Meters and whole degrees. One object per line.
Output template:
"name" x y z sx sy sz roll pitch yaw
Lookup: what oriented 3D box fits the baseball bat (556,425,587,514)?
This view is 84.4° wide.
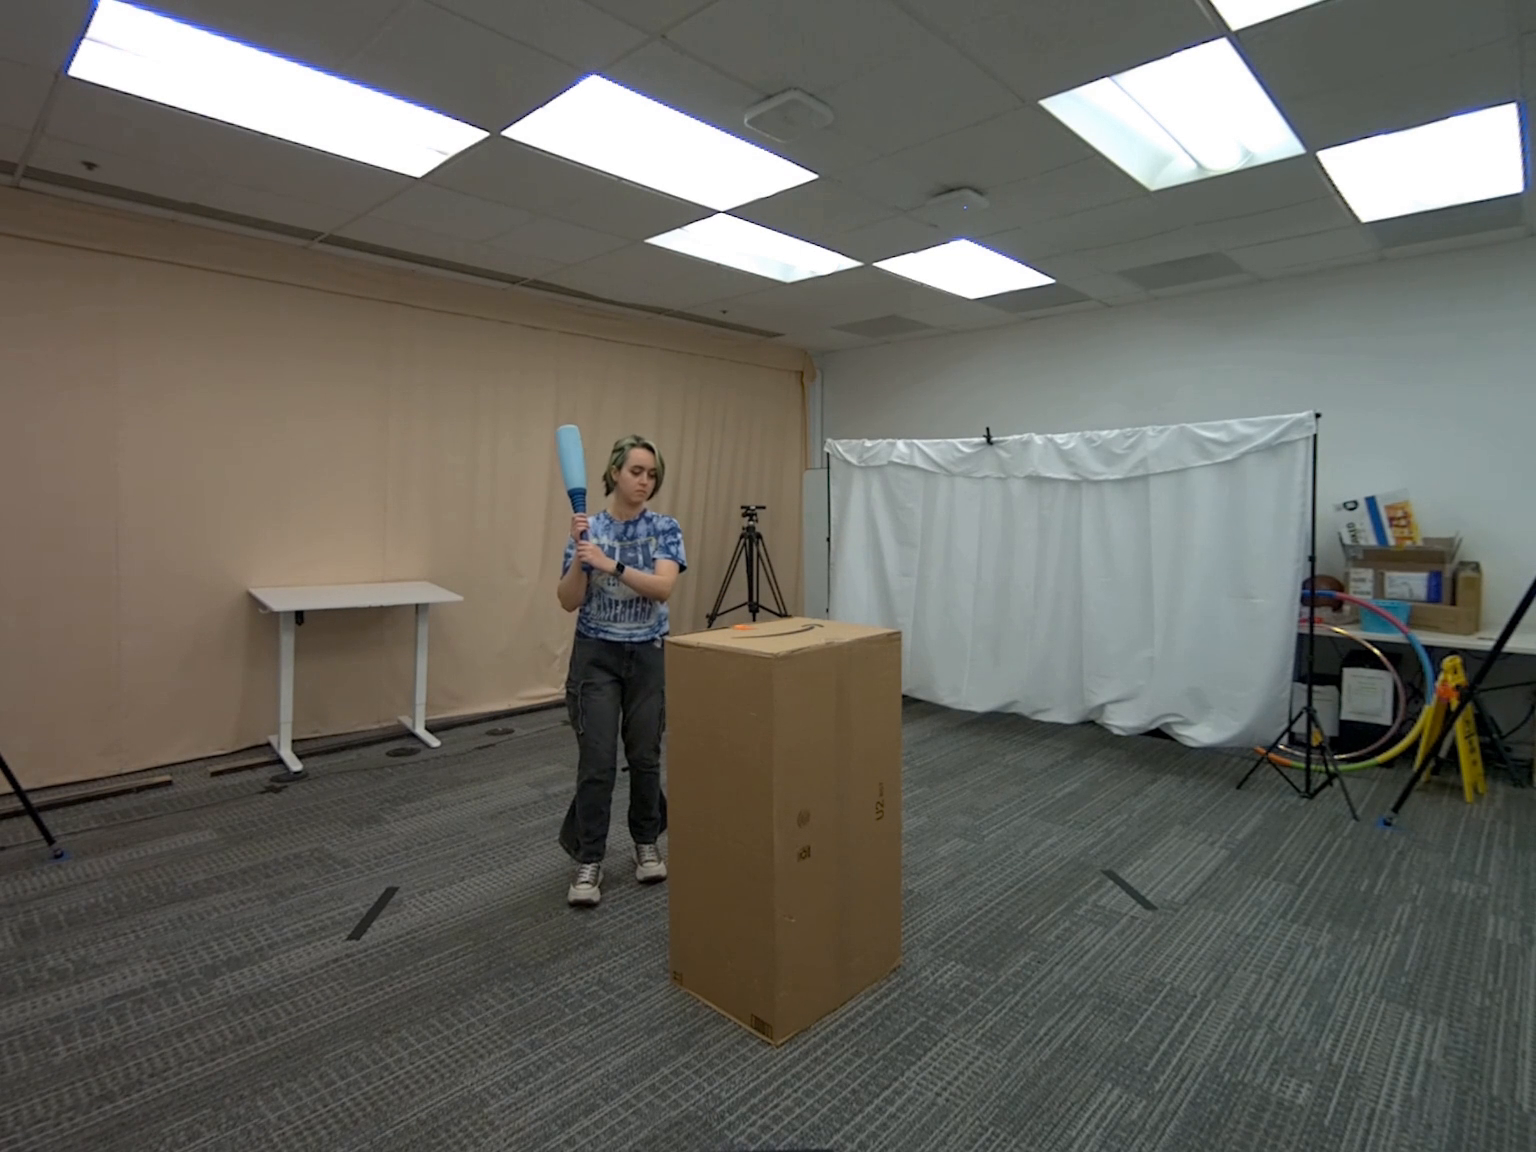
"baseball bat" -0.663 -0.273 2.936 0.089 0.551 0.088 -11 -17 -5
